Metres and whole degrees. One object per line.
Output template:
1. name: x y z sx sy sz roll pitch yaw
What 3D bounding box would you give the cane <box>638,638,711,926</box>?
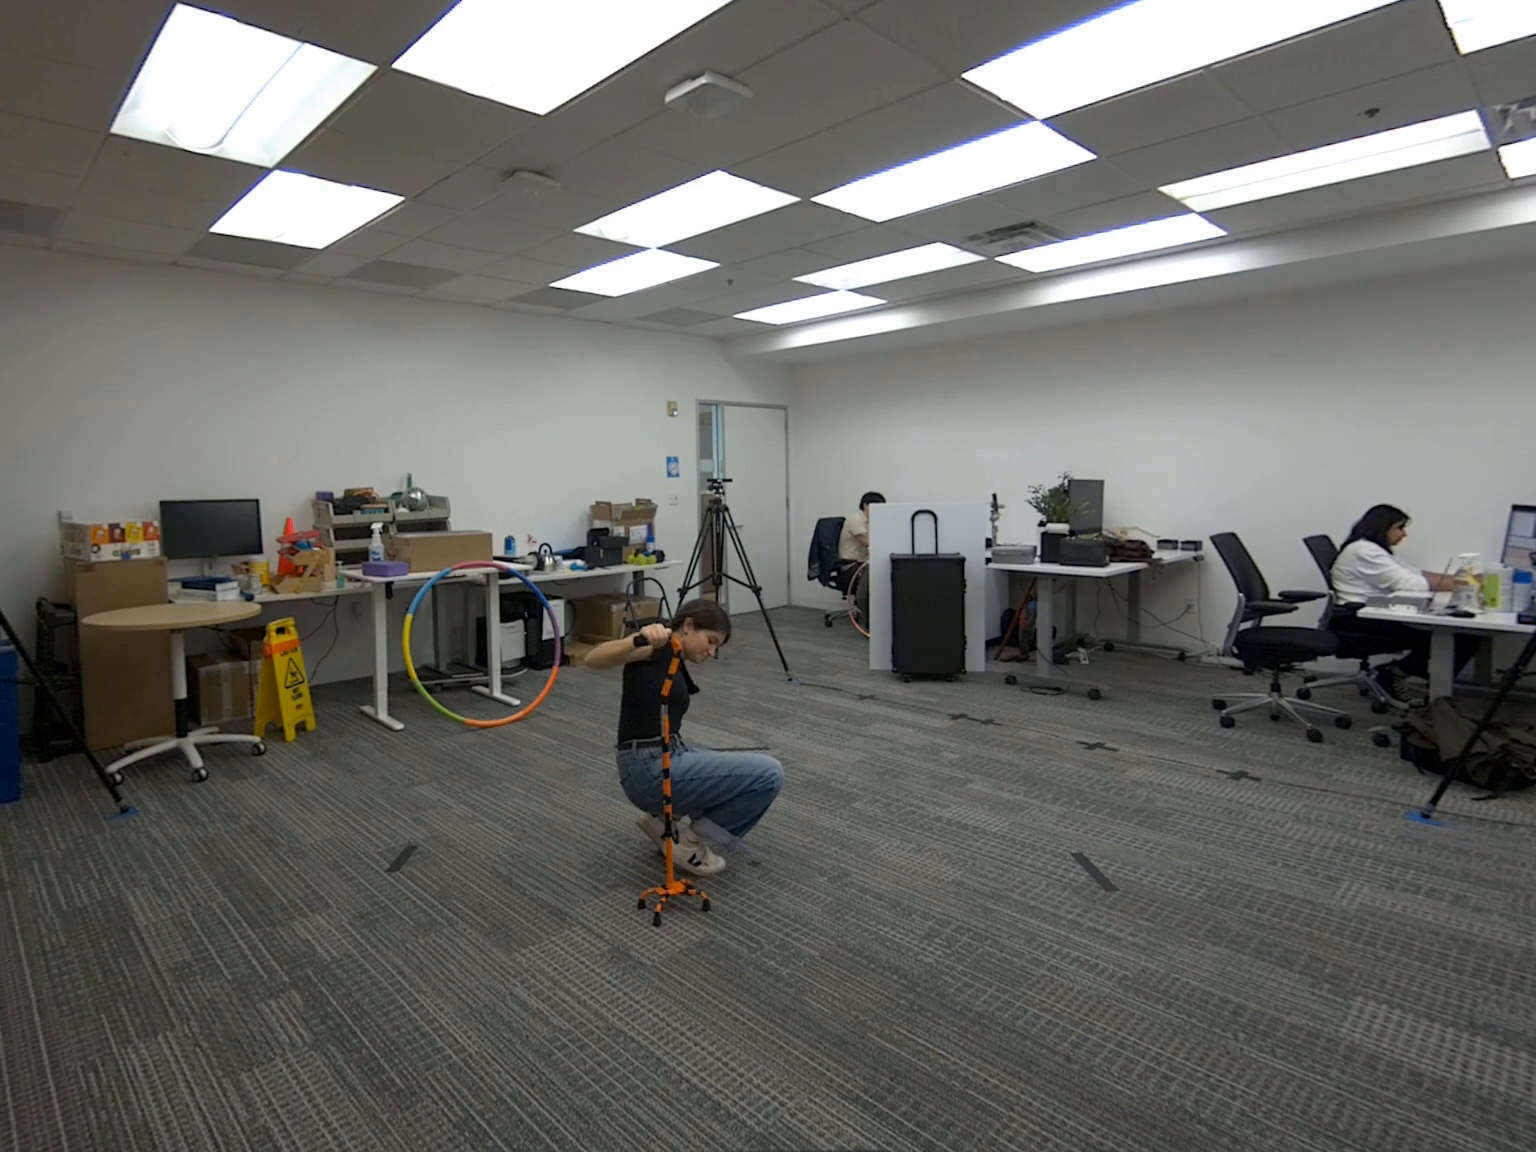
1. cane: -0.315 0.641 2.760 0.201 0.904 0.156 -4 4 -33
